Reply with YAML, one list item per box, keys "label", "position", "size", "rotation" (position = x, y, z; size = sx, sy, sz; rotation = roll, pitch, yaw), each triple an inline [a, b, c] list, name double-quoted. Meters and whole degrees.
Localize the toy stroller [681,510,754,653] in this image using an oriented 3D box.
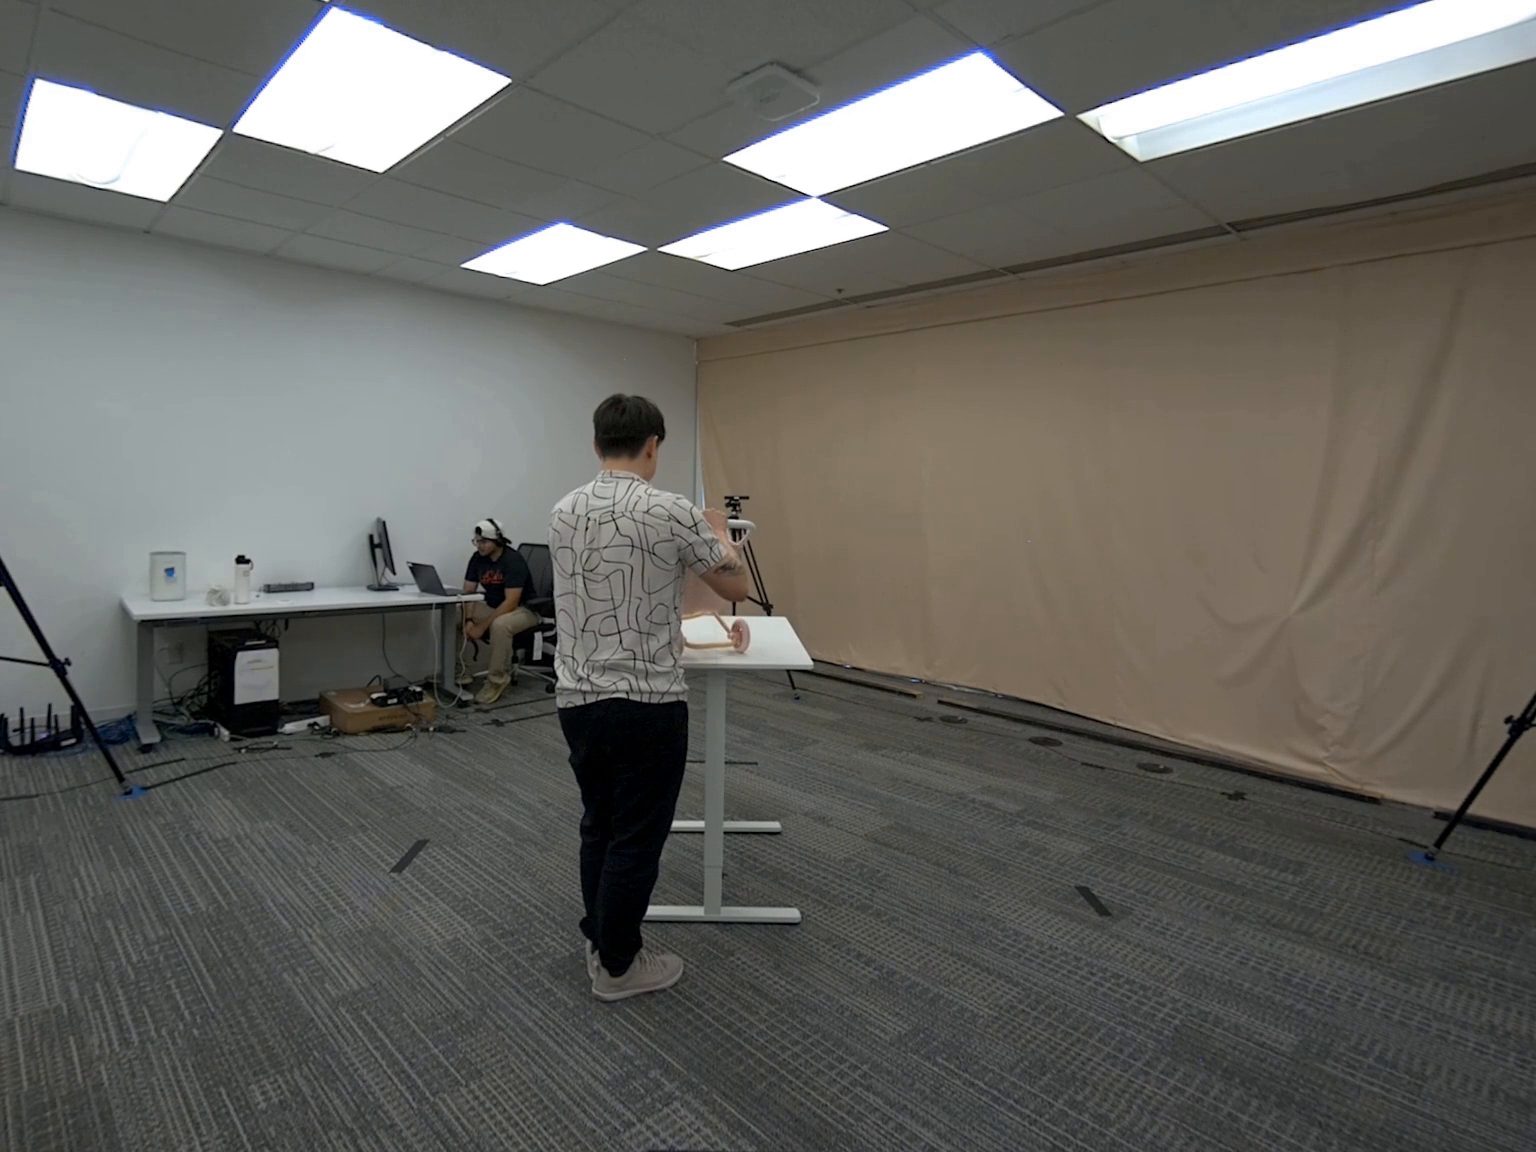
- label: "toy stroller"
  position: [-0.229, 0.028, 2.758]
  size: [0.276, 0.529, 0.351]
  rotation: [-1, 19, -26]
